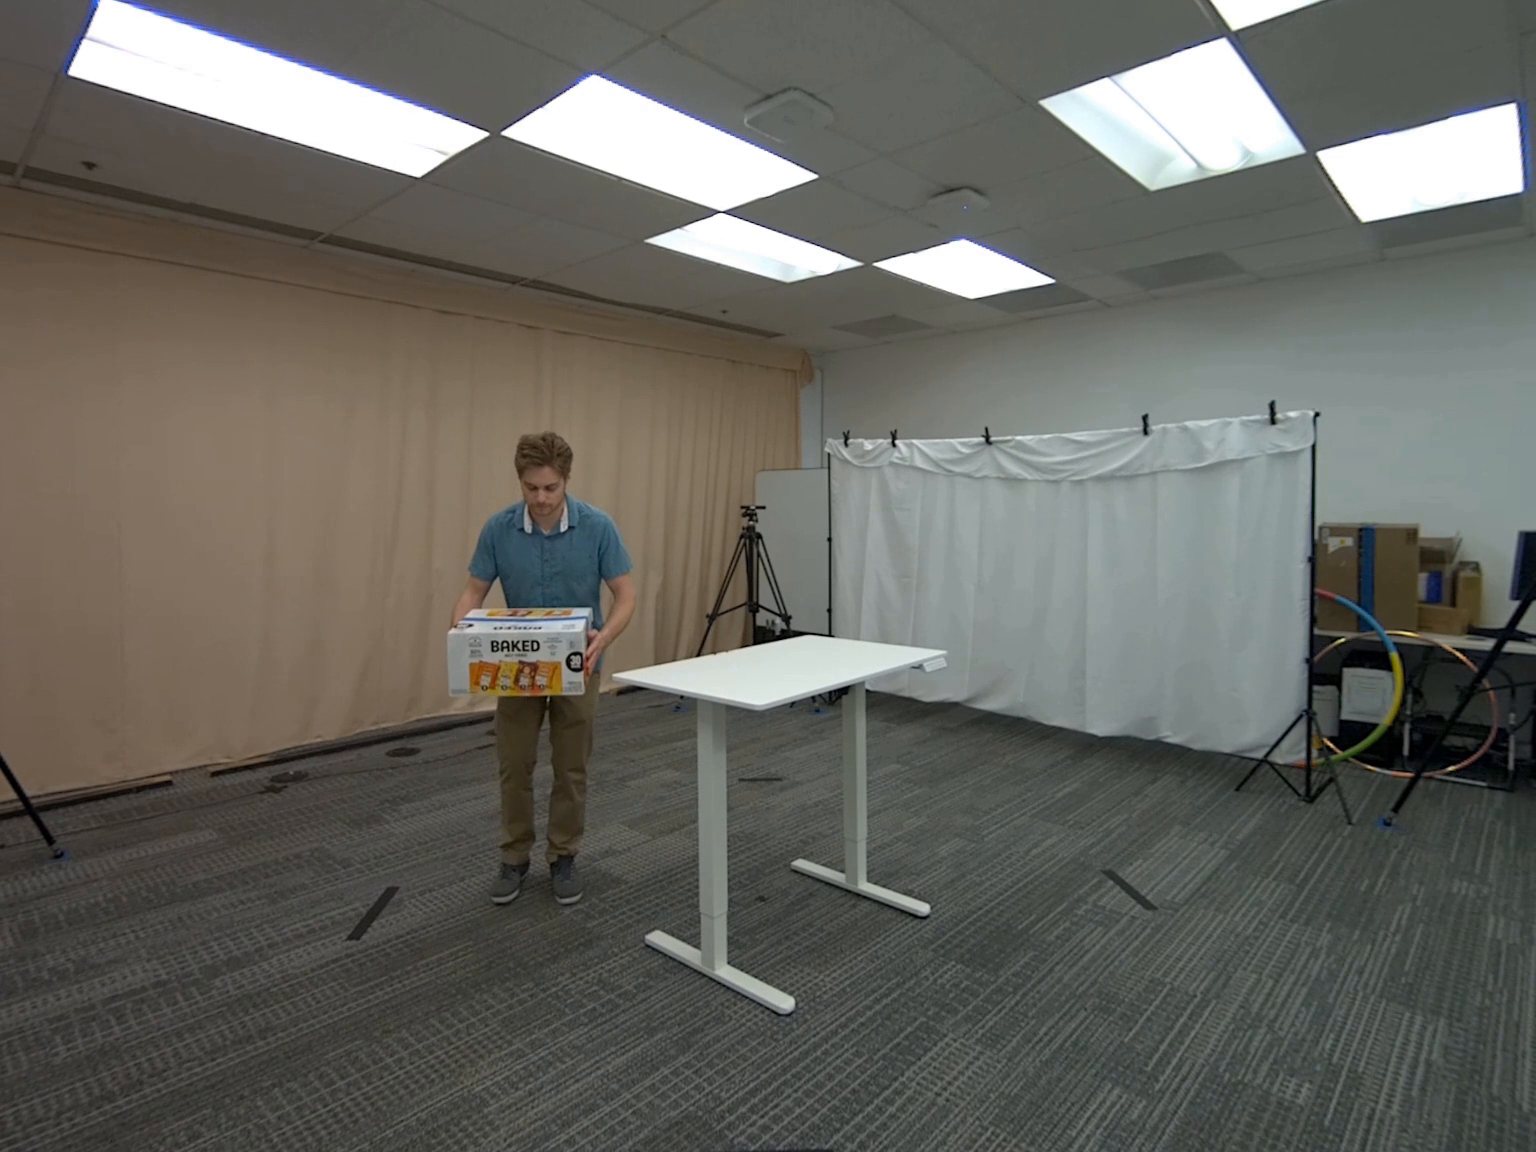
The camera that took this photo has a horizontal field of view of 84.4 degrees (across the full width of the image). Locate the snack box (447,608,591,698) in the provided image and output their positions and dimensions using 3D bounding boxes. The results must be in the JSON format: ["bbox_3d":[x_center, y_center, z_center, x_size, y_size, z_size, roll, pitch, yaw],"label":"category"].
[{"bbox_3d":[-0.783,0.239,2.696,0.403,0.205,0.344,-1,8,-6],"label":"snack box"}]
